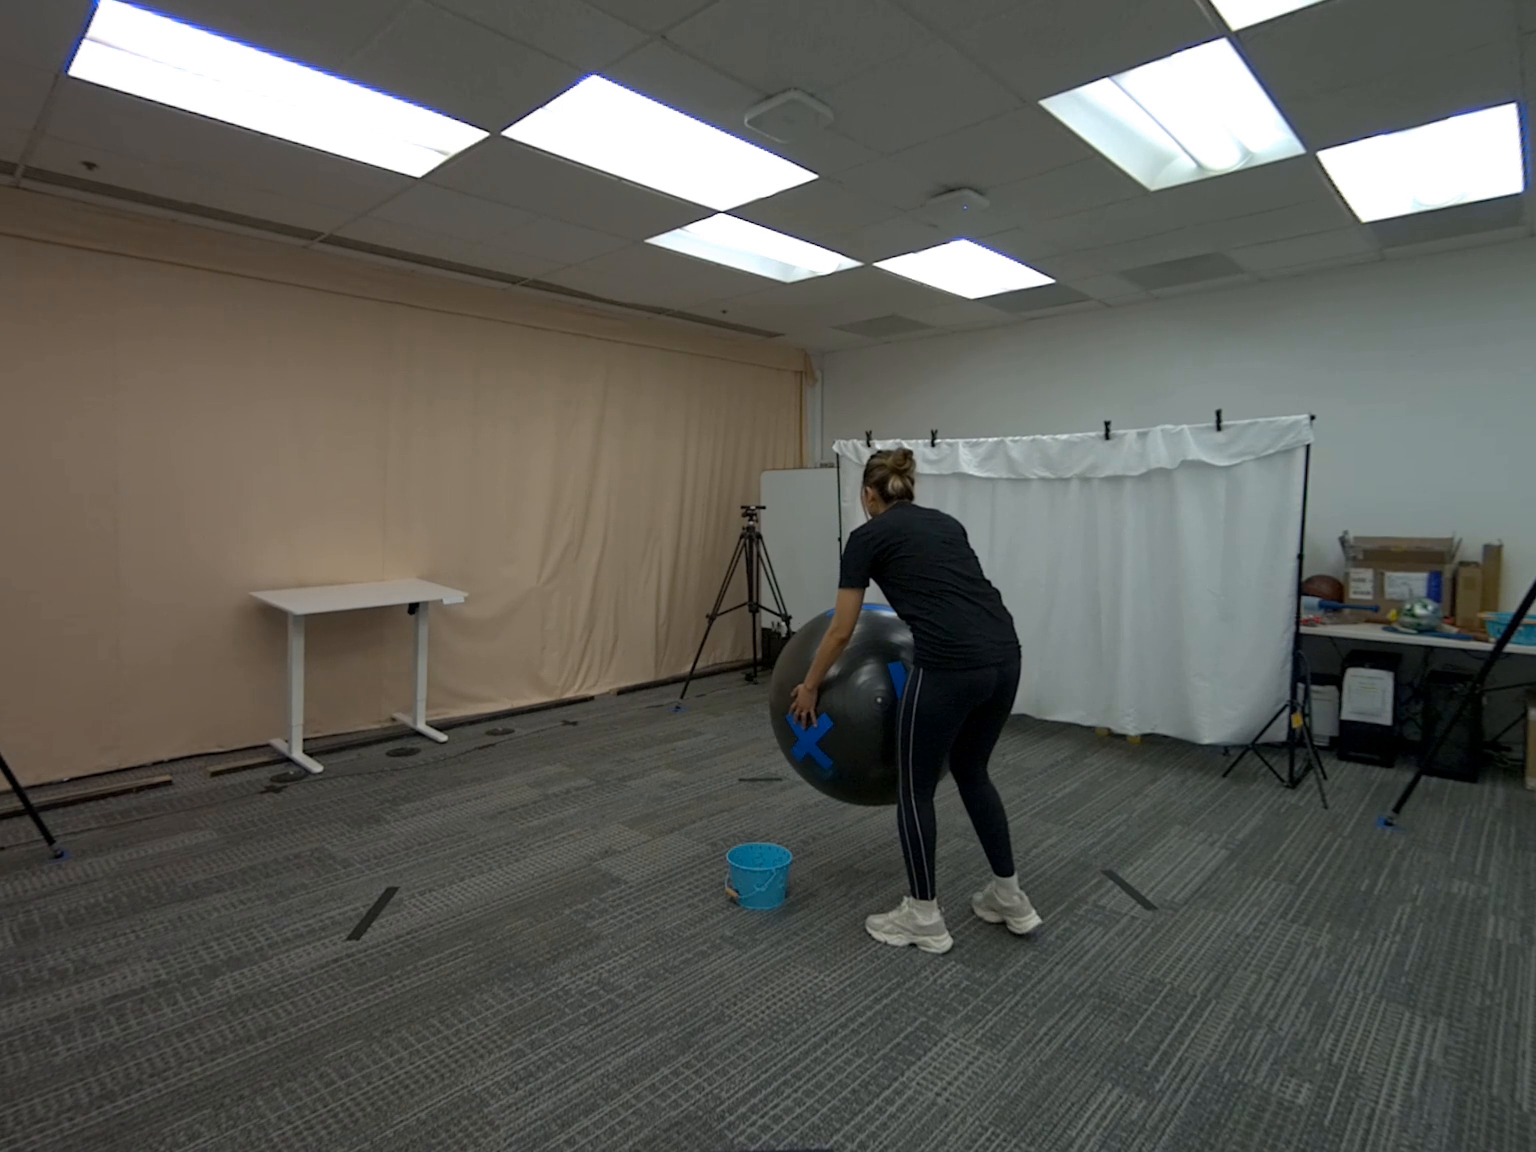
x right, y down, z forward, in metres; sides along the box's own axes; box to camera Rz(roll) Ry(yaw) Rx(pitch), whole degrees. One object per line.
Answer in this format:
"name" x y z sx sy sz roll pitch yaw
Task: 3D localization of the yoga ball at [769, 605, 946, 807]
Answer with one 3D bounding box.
"yoga ball" 0.382 0.492 3.203 0.757 0.756 0.760 0 4 -2
